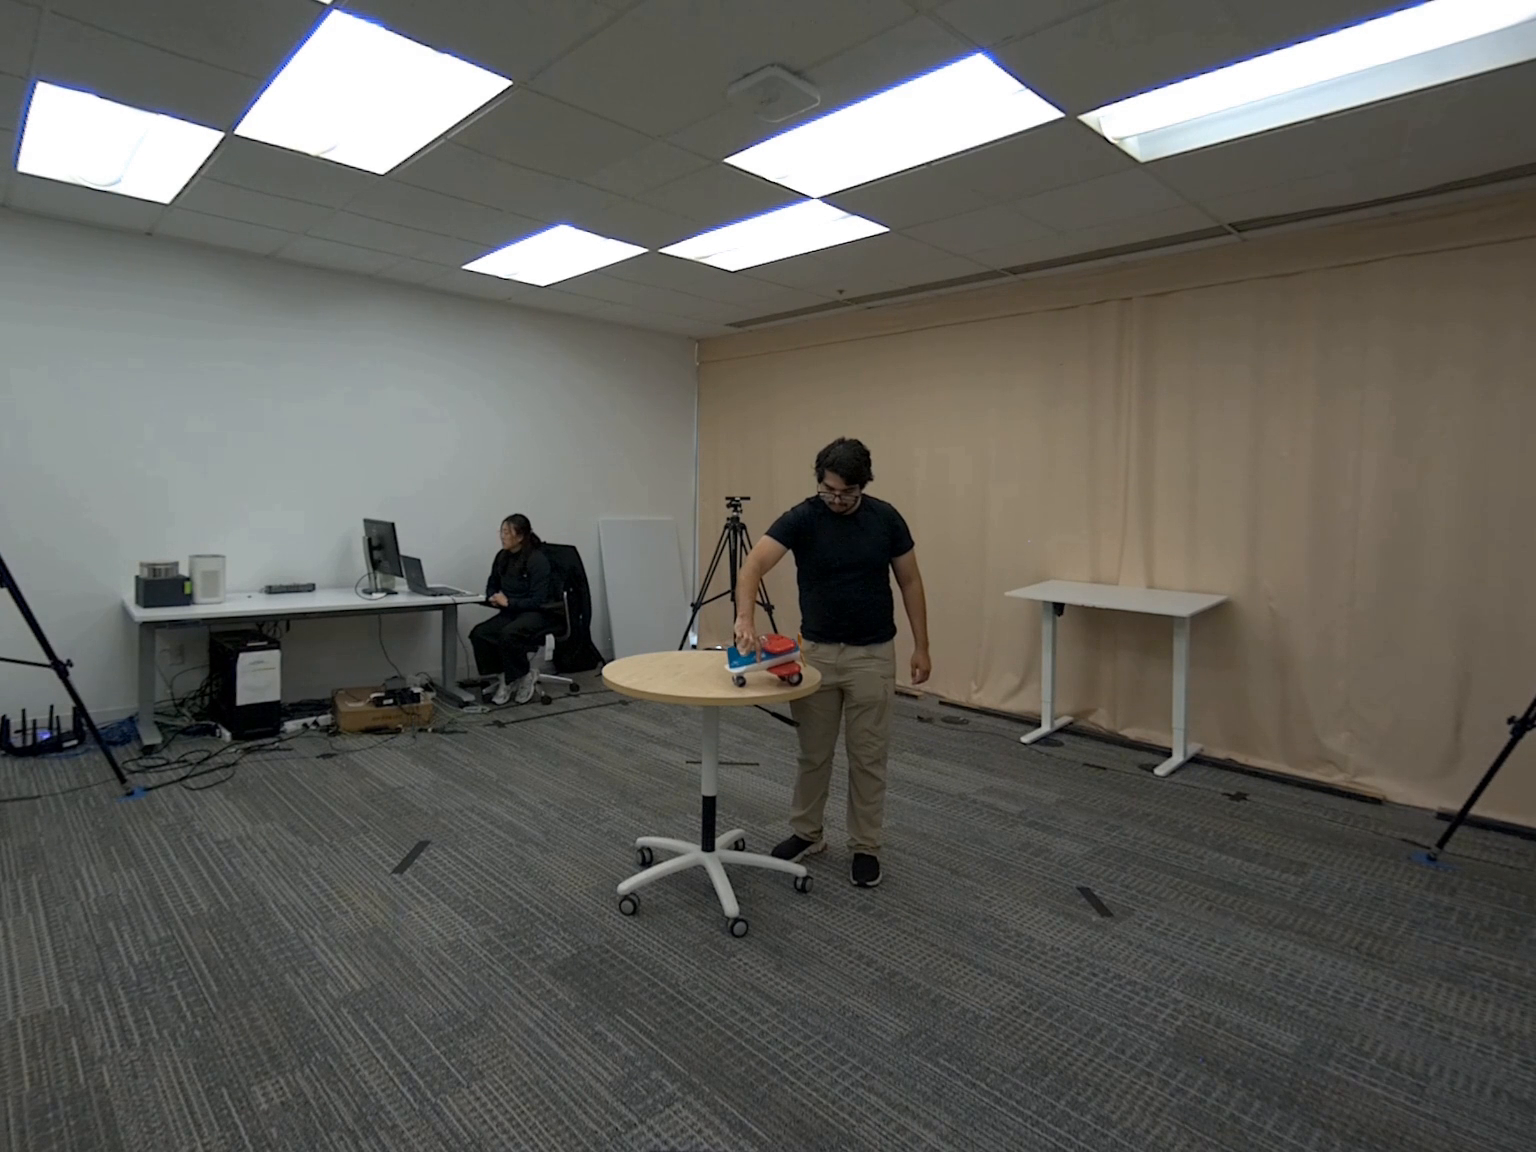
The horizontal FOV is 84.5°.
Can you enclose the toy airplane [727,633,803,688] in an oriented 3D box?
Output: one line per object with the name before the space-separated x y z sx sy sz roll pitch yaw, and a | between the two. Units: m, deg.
toy airplane | -0.005 0.282 2.754 0.253 0.156 0.257 -2 5 -44
